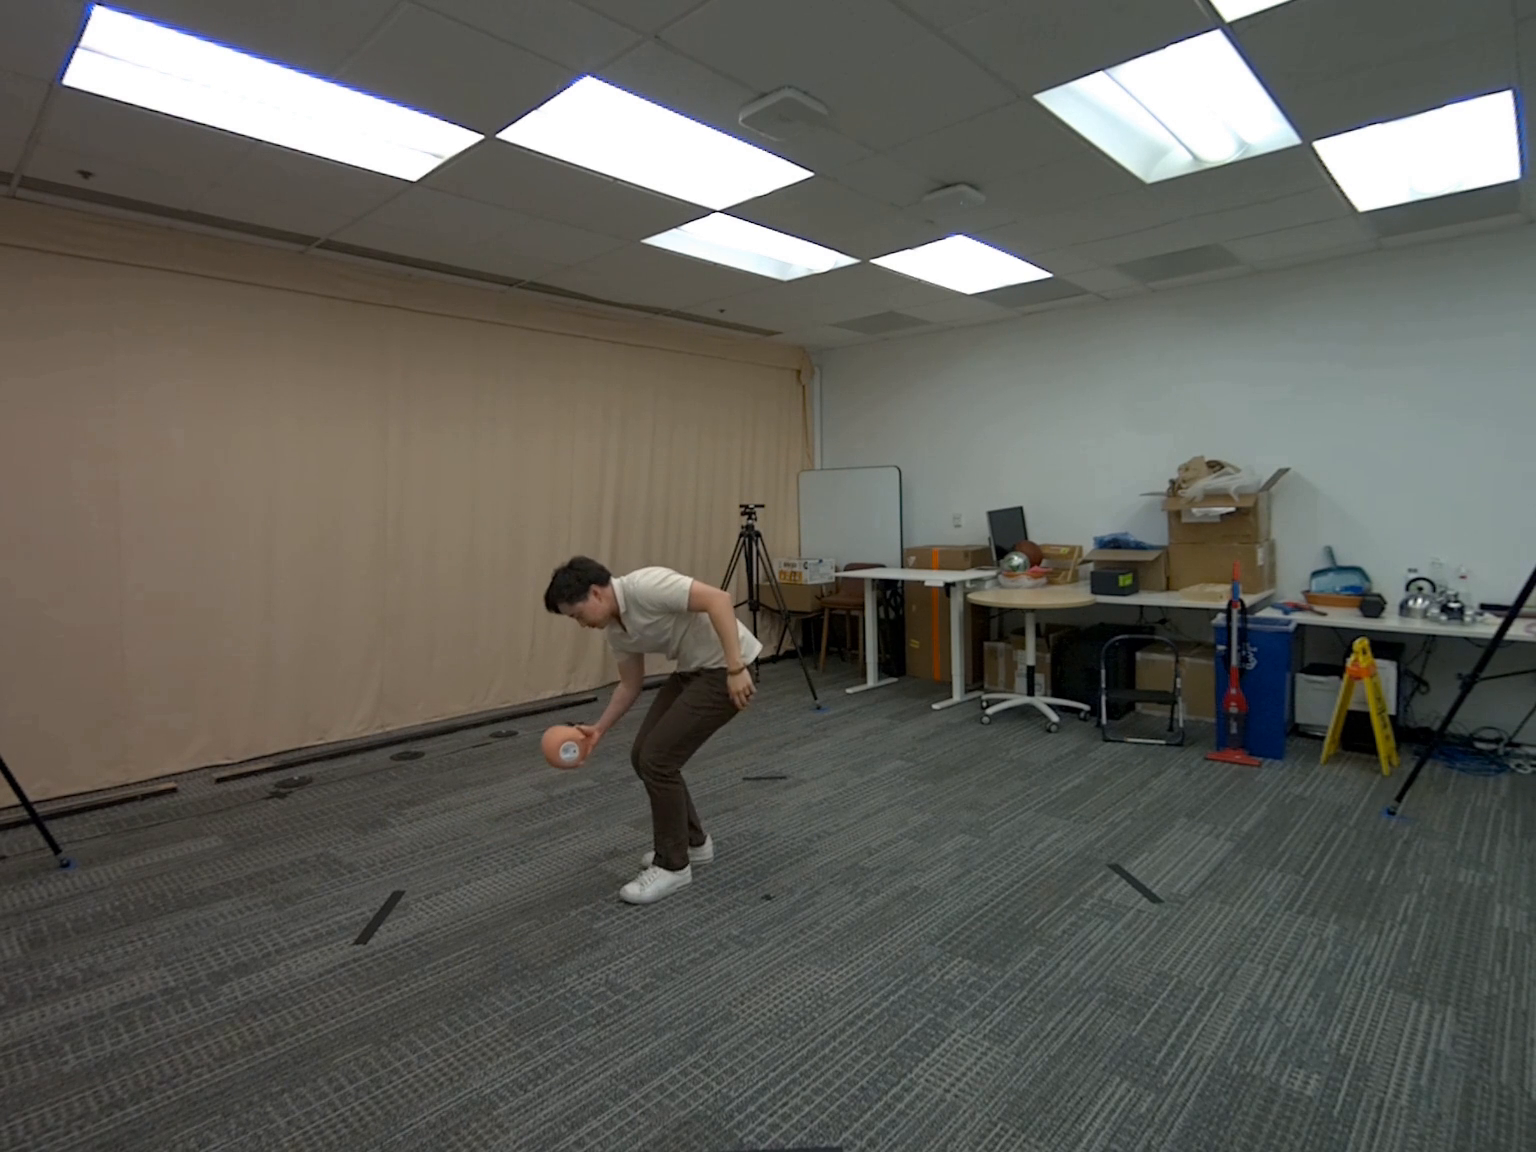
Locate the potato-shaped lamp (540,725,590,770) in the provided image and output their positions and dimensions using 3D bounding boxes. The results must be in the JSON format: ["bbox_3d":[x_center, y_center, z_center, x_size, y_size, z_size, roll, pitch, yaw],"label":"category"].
[{"bbox_3d":[-0.809,0.676,3.331,0.168,0.164,0.202,3,3,-21],"label":"potato-shaped lamp"}]
